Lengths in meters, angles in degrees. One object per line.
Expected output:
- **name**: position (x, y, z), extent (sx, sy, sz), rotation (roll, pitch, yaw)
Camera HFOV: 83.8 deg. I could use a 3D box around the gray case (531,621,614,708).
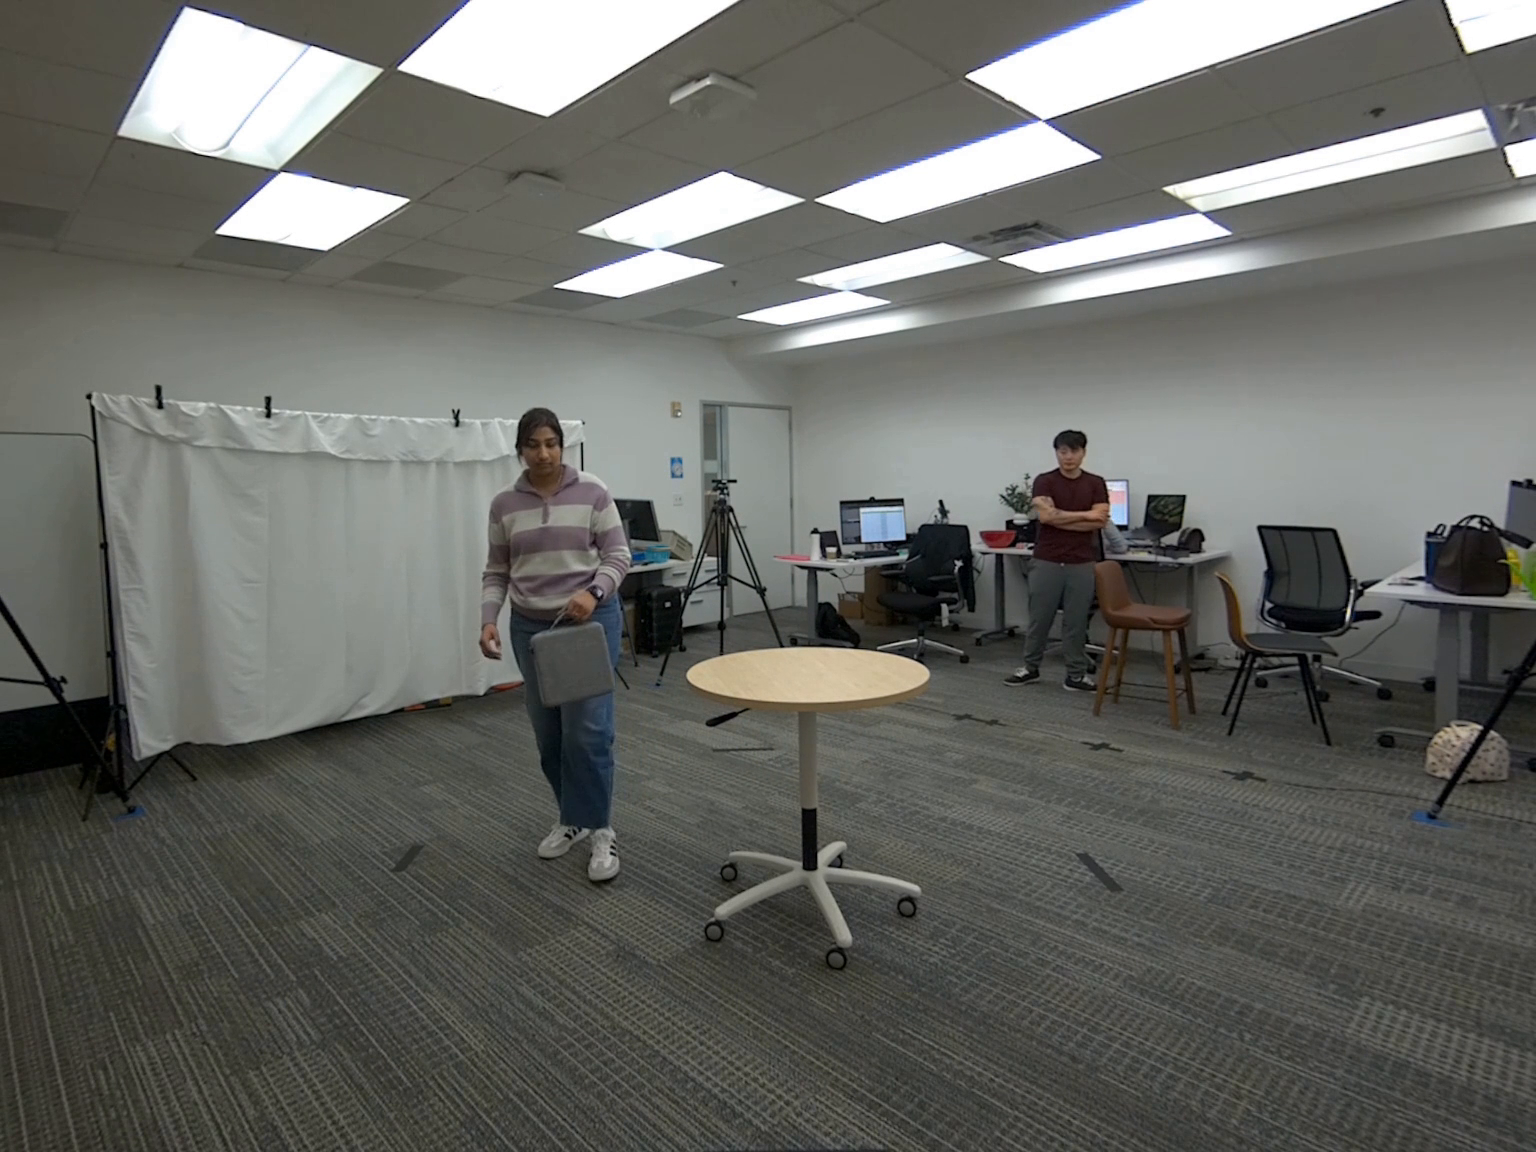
- **gray case**: position (-0.675, 0.296, 2.918), extent (0.253, 0.260, 0.106), rotation (-12, 3, -21)
